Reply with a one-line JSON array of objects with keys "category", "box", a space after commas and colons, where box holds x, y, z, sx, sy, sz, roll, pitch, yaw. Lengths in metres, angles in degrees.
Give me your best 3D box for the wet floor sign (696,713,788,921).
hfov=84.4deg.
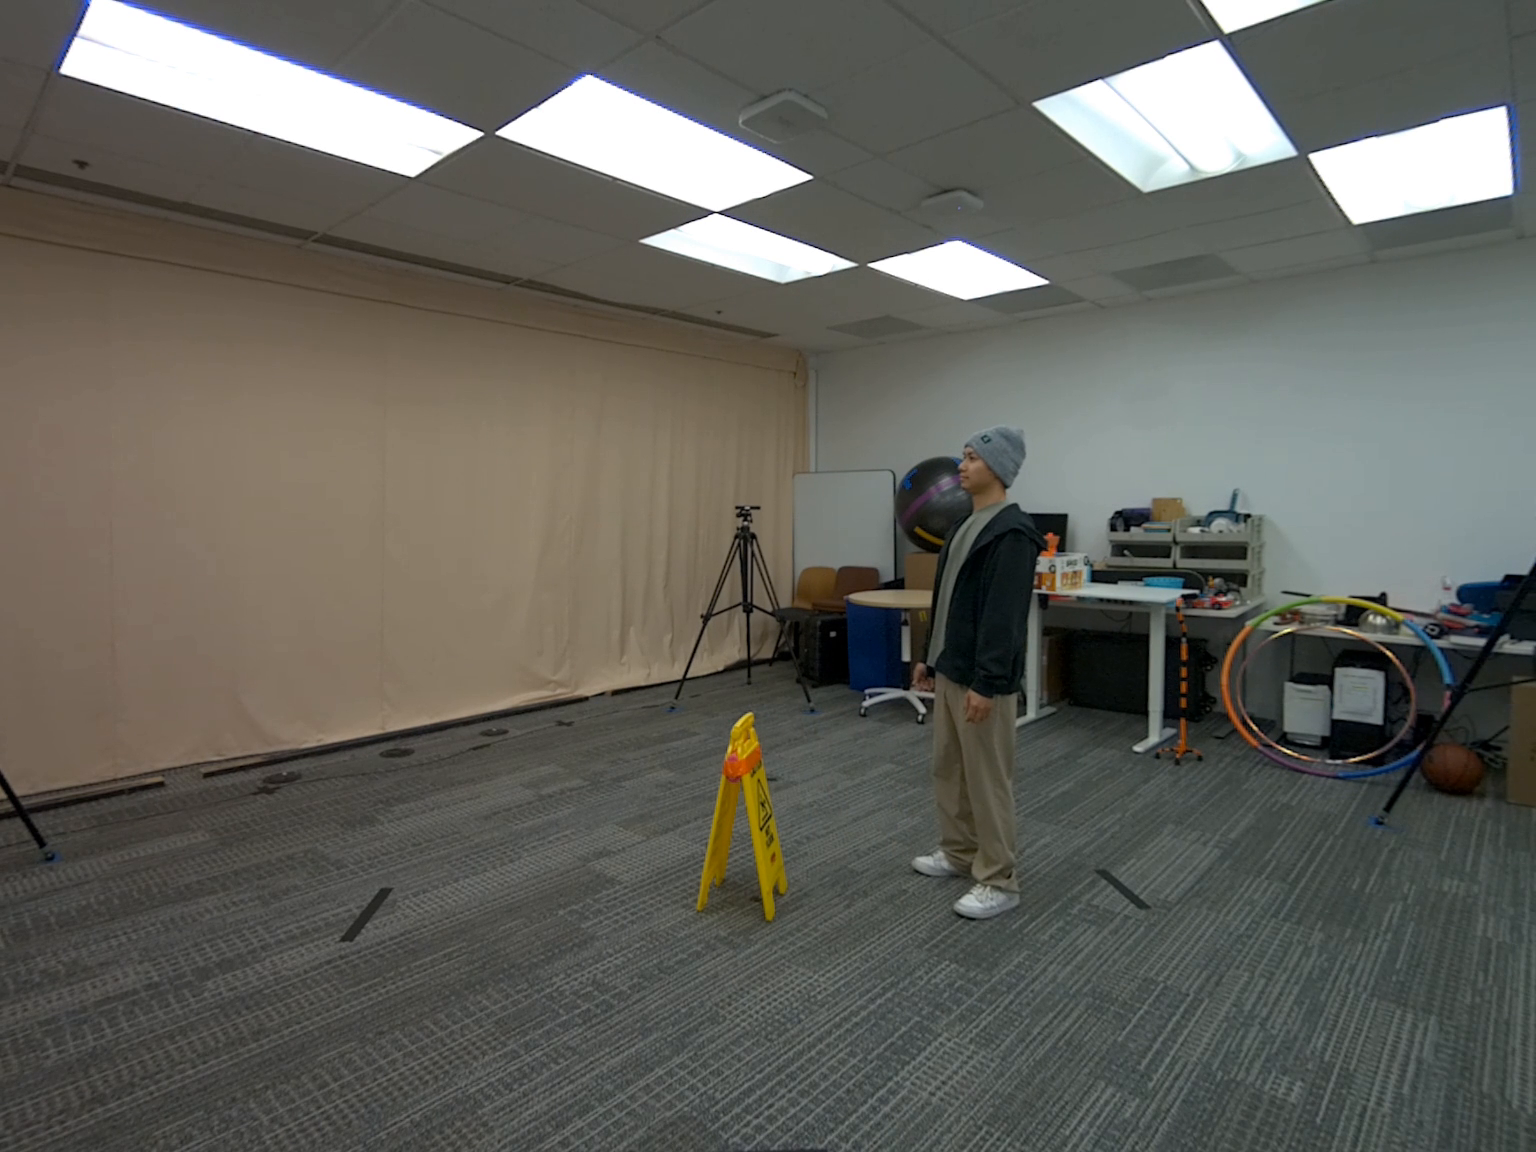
[{"category": "wet floor sign", "box": [-0.086, 0.825, 2.968, 0.295, 0.645, 0.277, 0, 2, 16]}]
